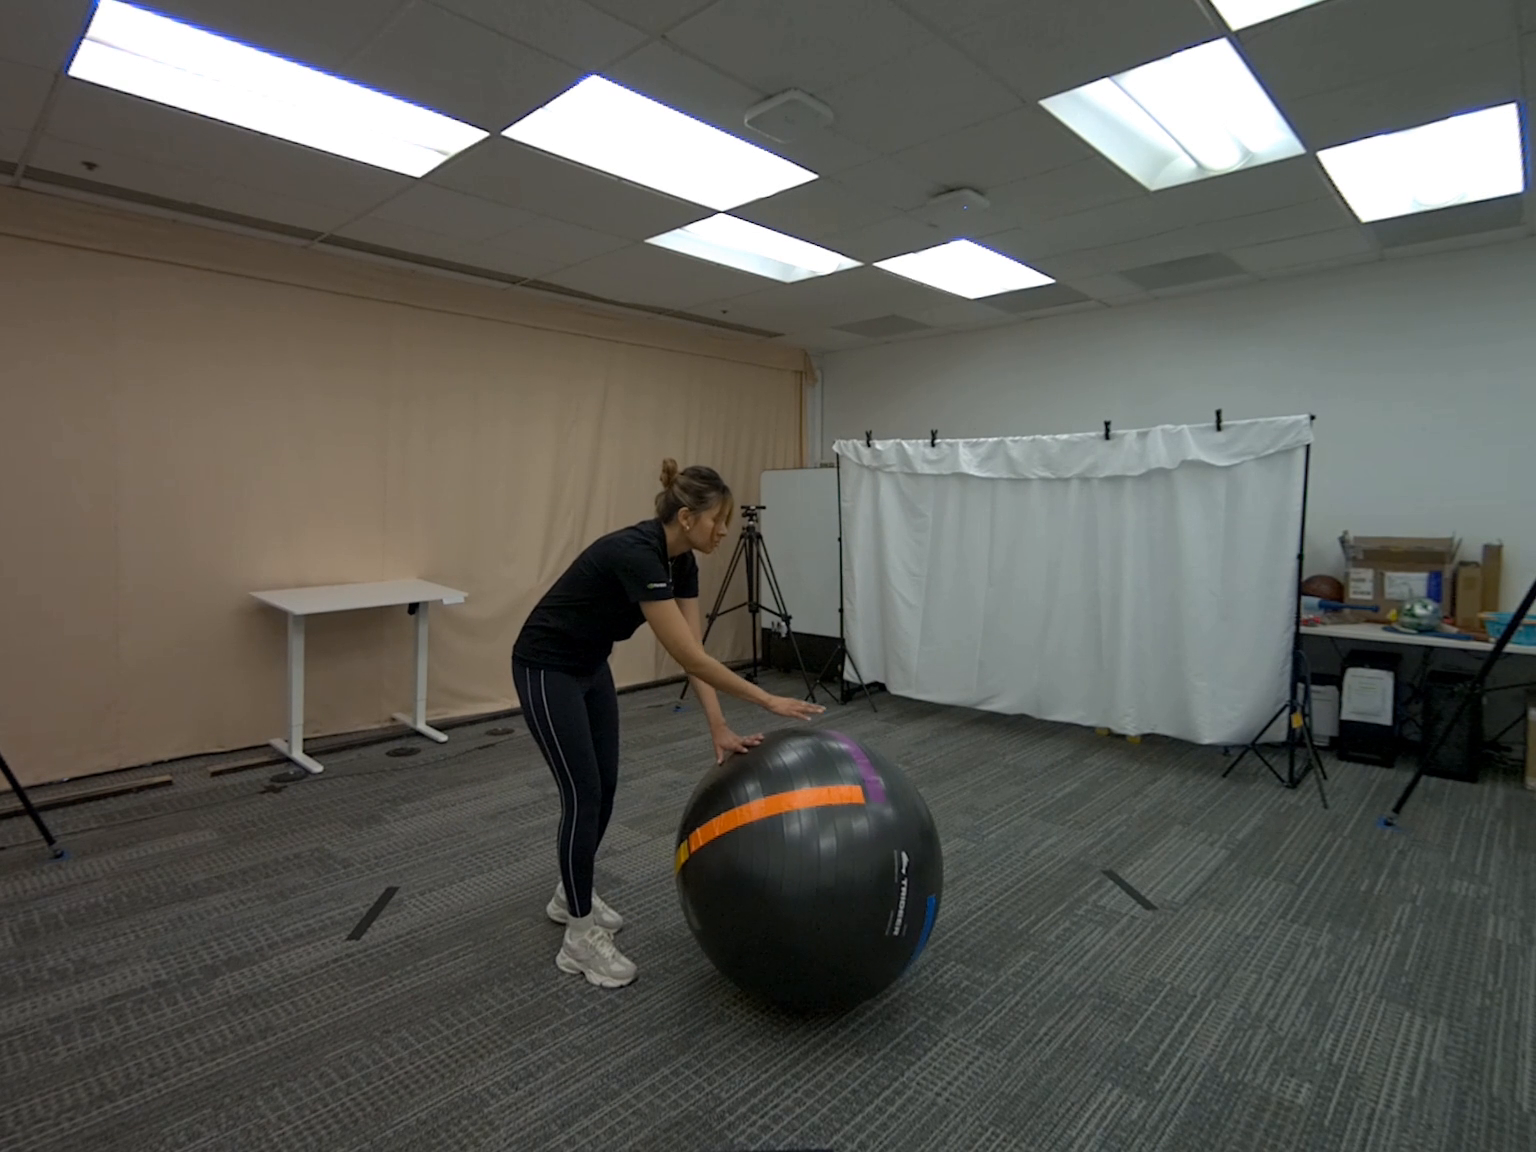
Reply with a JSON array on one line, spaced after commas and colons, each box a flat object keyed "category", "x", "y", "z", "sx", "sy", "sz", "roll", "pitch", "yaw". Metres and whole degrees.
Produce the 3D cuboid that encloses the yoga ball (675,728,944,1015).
[{"category": "yoga ball", "x": 0.117, "y": 0.820, "z": 2.417, "sx": 0.757, "sy": 0.756, "sz": 0.760, "roll": 0, "pitch": 4, "yaw": -2}]
